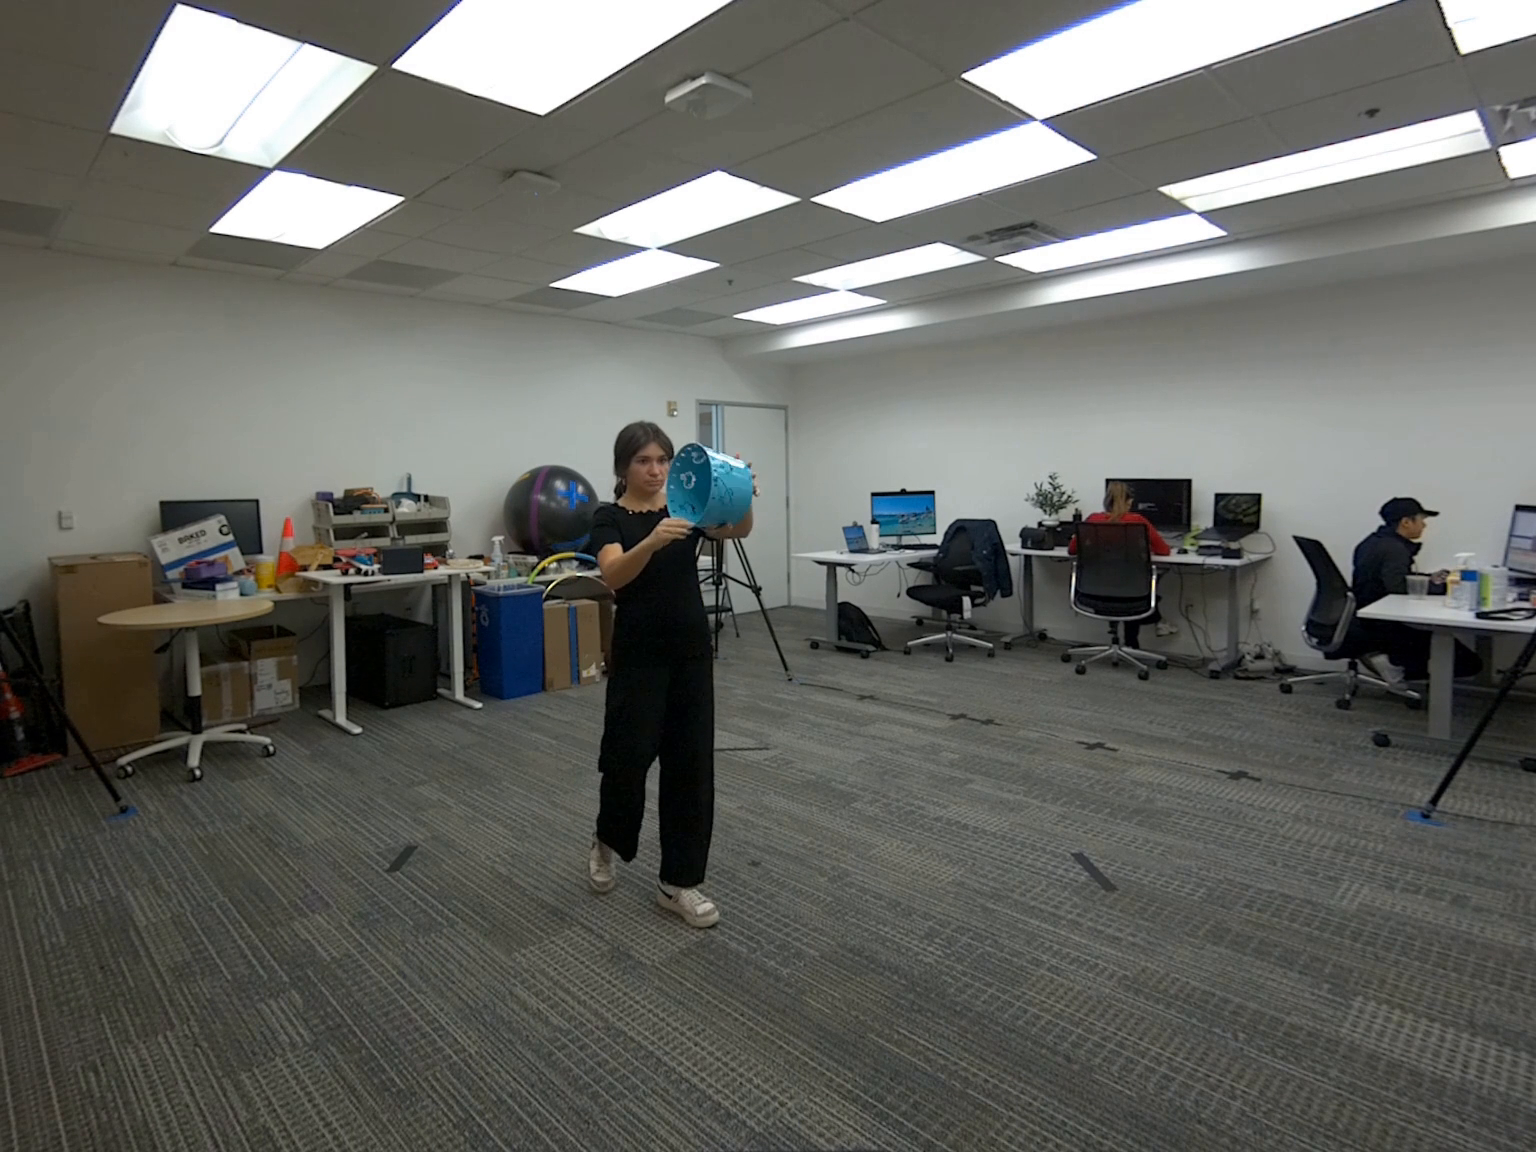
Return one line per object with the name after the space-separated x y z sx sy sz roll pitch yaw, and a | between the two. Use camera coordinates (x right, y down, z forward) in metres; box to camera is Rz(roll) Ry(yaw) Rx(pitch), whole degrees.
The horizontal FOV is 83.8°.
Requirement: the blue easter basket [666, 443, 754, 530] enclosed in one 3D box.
-0.158 -0.235 2.338 0.151 0.244 0.251 5 0 -38 | blue easter basket
